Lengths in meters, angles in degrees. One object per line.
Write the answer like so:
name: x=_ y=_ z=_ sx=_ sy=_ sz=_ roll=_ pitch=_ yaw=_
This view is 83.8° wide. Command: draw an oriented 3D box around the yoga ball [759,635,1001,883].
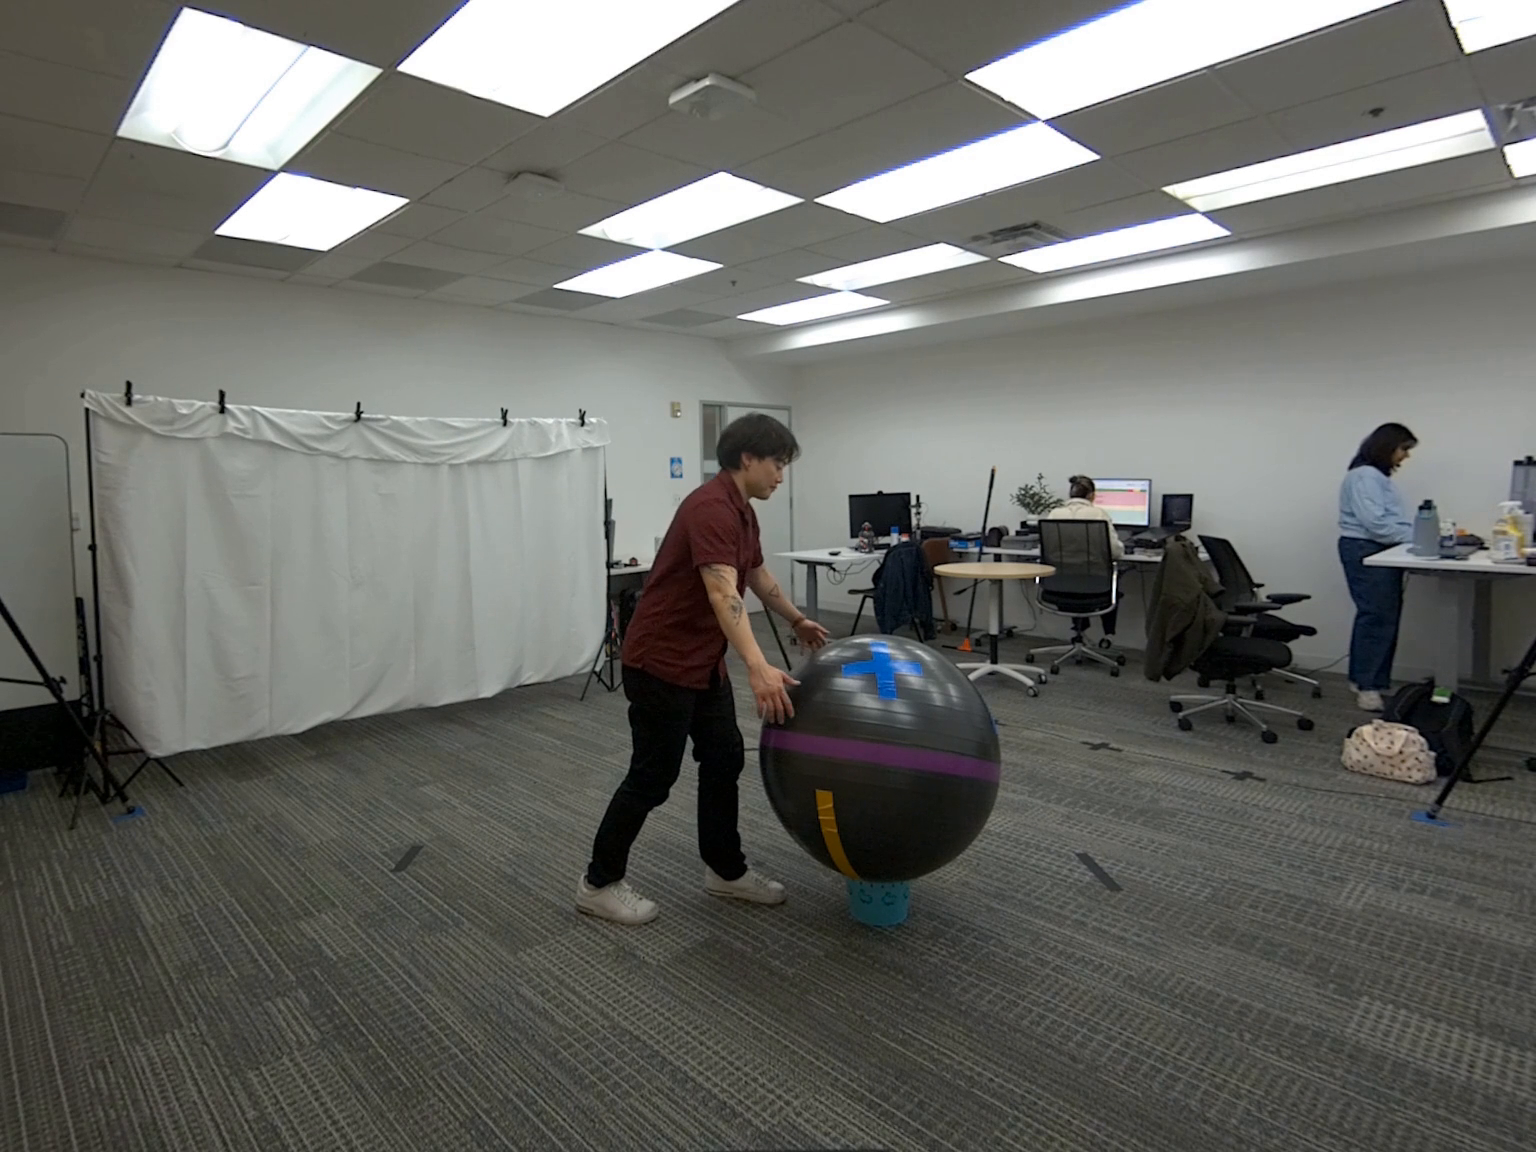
yoga ball: x=0.361 y=0.572 z=2.726 sx=0.757 sy=0.755 sz=0.762 roll=-1 pitch=5 yaw=-2
